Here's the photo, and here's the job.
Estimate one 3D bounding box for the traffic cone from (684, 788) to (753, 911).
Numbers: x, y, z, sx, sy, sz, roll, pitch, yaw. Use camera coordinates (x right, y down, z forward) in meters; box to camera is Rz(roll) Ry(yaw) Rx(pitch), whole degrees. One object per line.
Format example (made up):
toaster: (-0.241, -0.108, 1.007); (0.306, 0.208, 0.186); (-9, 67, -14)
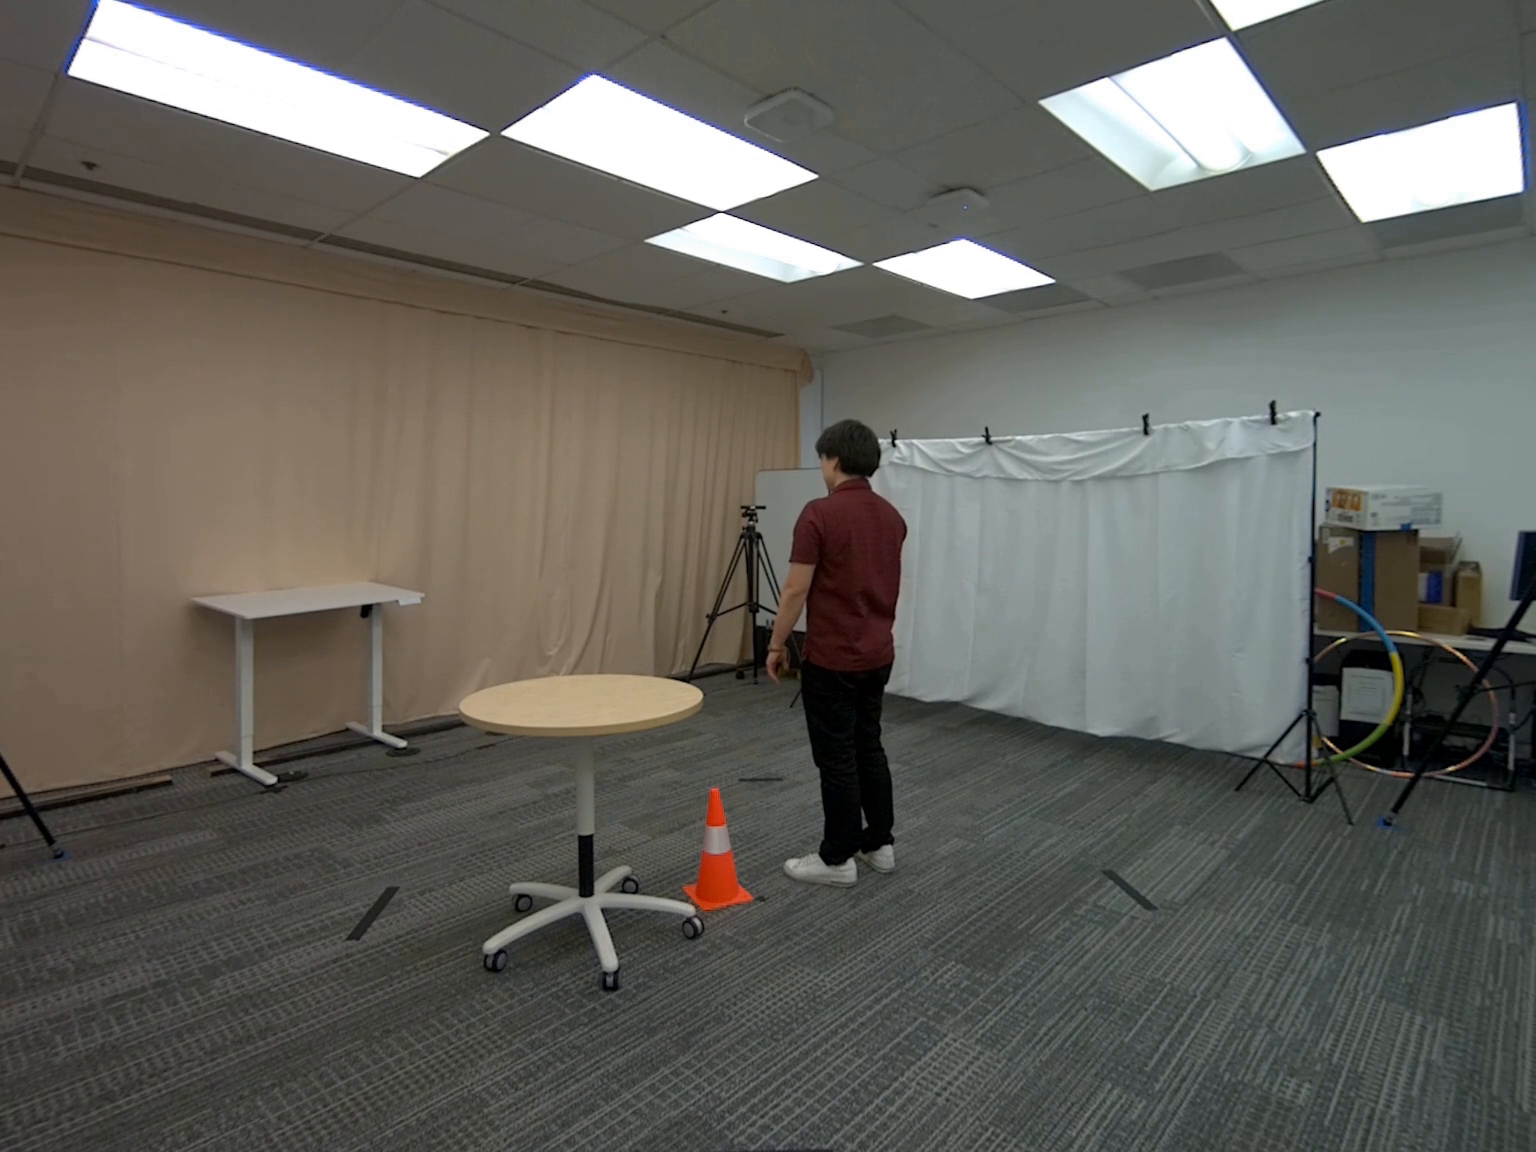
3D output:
traffic cone: (-0.187, 0.963, 3.020); (0.198, 0.383, 0.210); (-3, 3, -26)
